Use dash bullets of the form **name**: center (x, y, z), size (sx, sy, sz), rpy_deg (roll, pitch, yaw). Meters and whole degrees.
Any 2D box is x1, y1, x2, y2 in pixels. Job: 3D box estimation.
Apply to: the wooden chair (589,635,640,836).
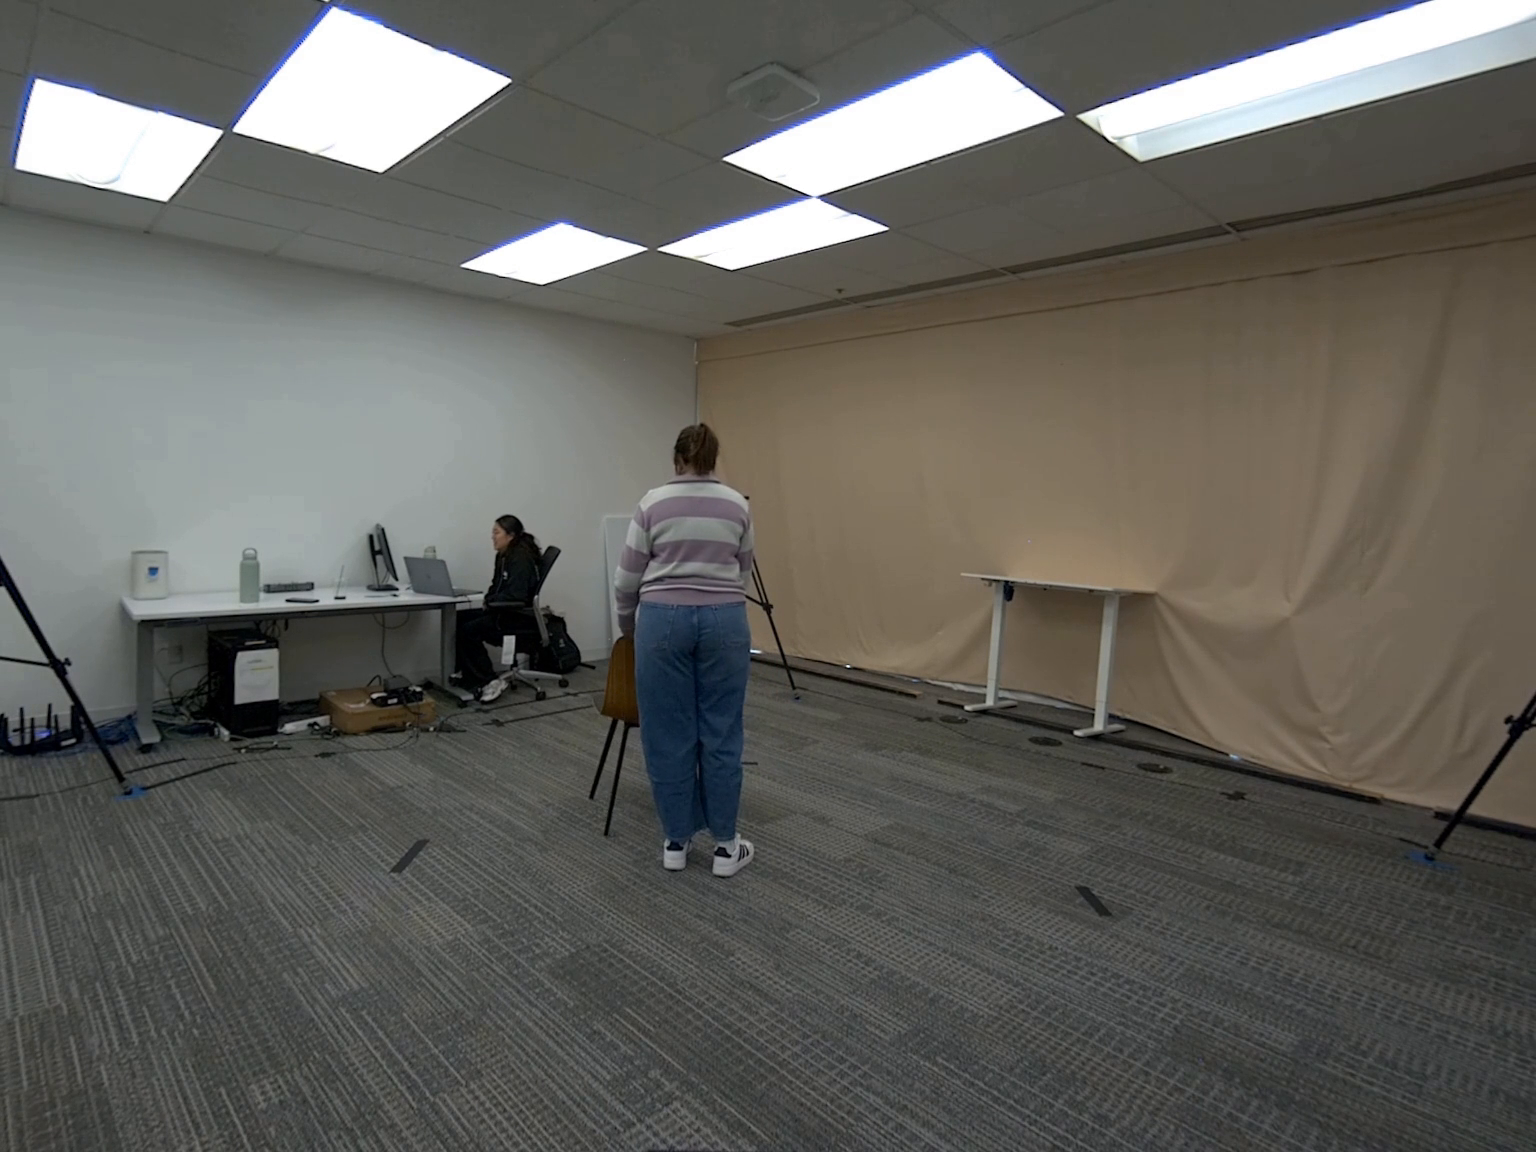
- **wooden chair**: center (-0.526, 0.613, 3.688), size (0.471, 0.873, 0.533), rpy_deg (0, 8, -19)
